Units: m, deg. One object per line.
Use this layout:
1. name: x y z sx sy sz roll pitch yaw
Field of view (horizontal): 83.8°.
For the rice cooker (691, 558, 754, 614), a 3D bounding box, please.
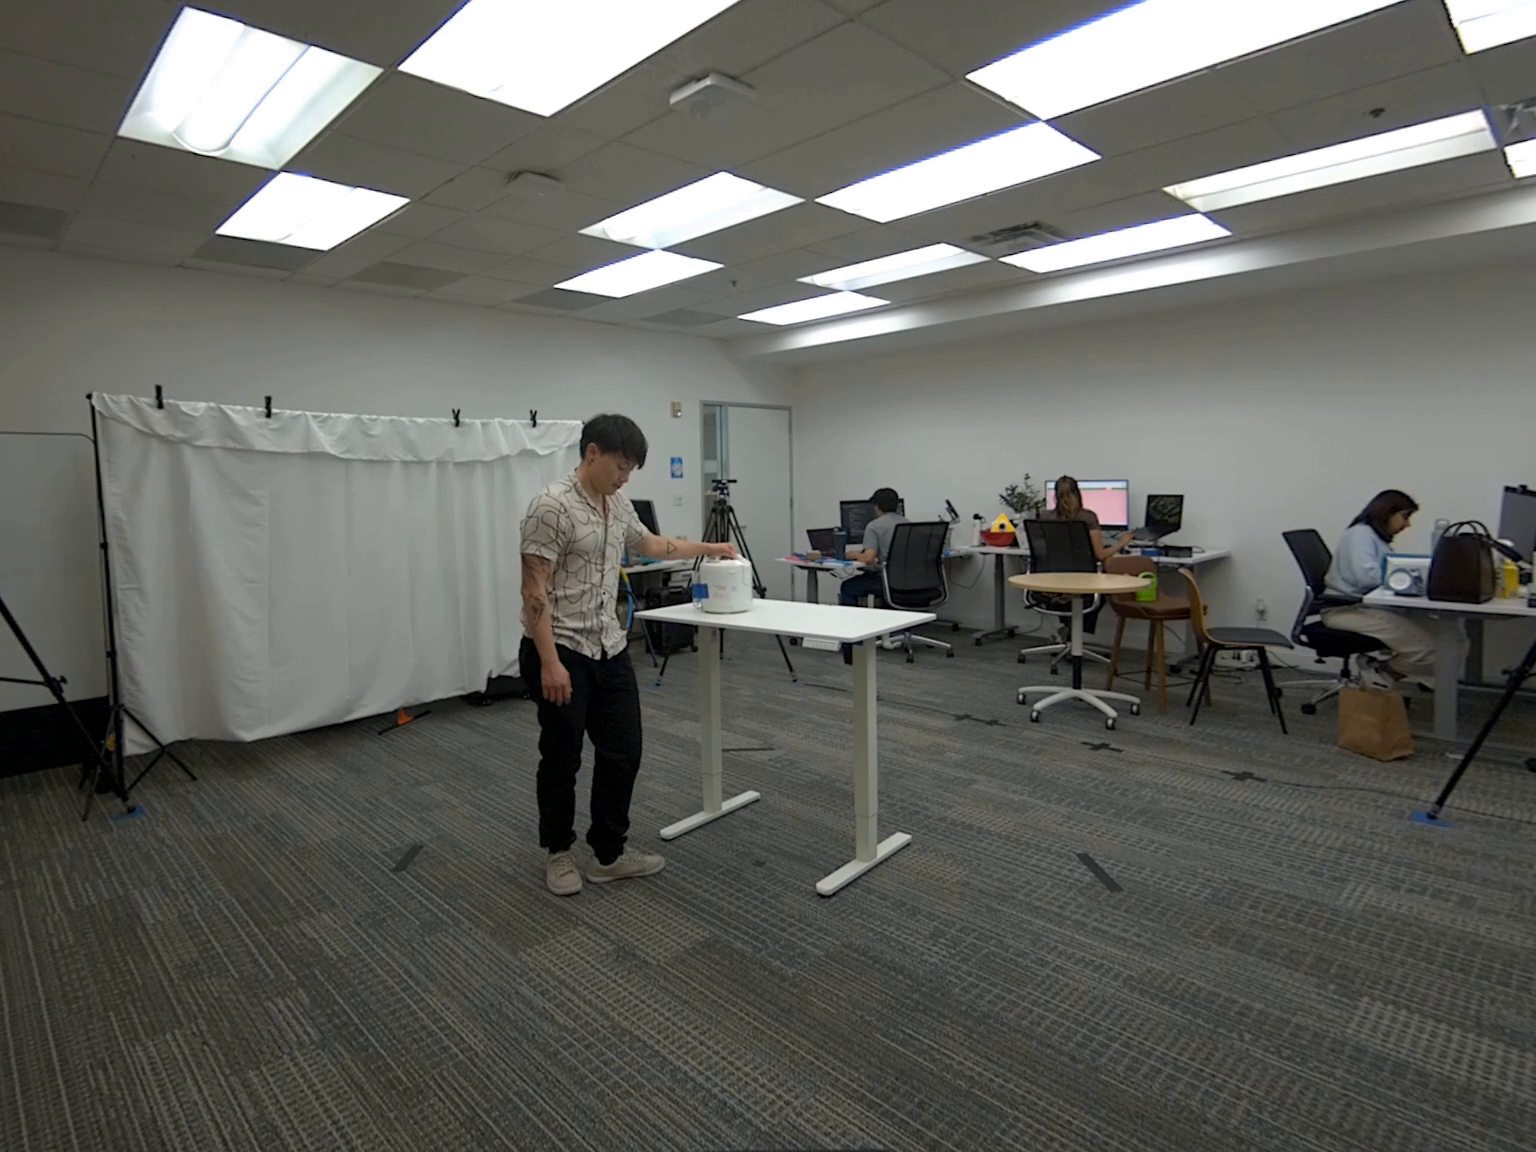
1. rice cooker: -0.167 0.022 3.371 0.227 0.232 0.212 2 6 36
